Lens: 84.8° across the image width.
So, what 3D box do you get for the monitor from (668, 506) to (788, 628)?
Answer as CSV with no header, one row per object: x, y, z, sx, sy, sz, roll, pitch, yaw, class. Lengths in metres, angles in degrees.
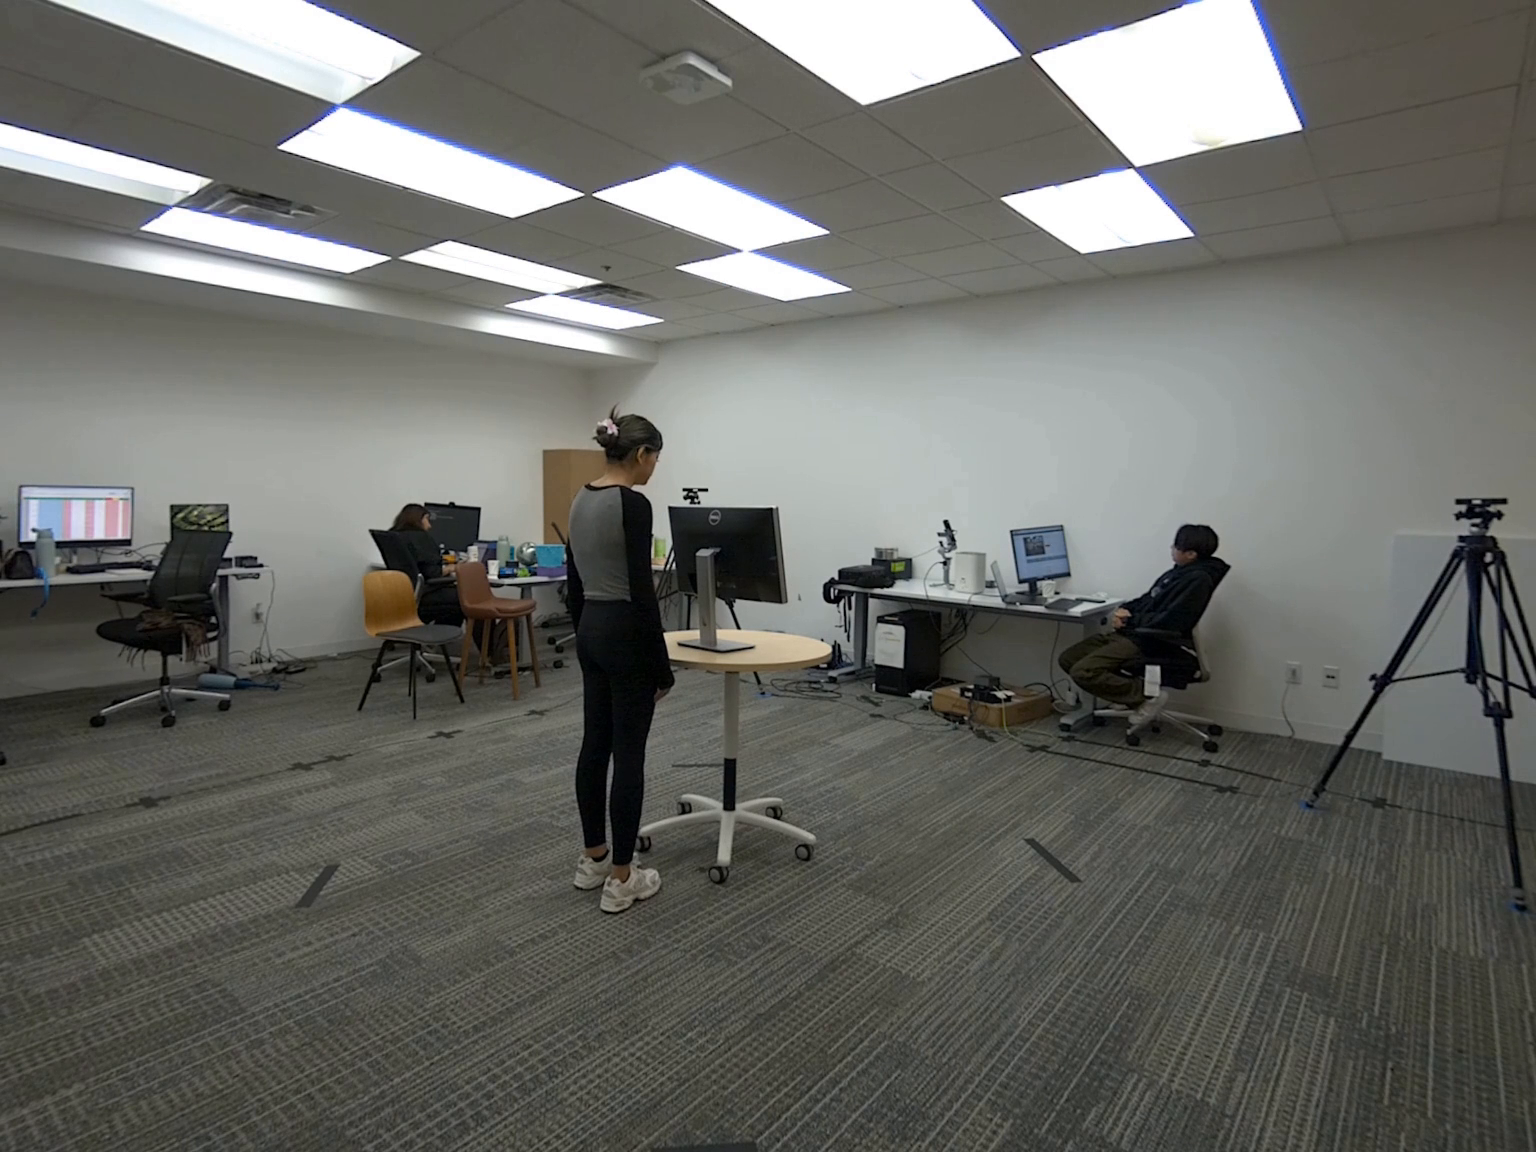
-0.203,0.002,3.250,0.557,0.522,0.181,4,2,40,monitor
